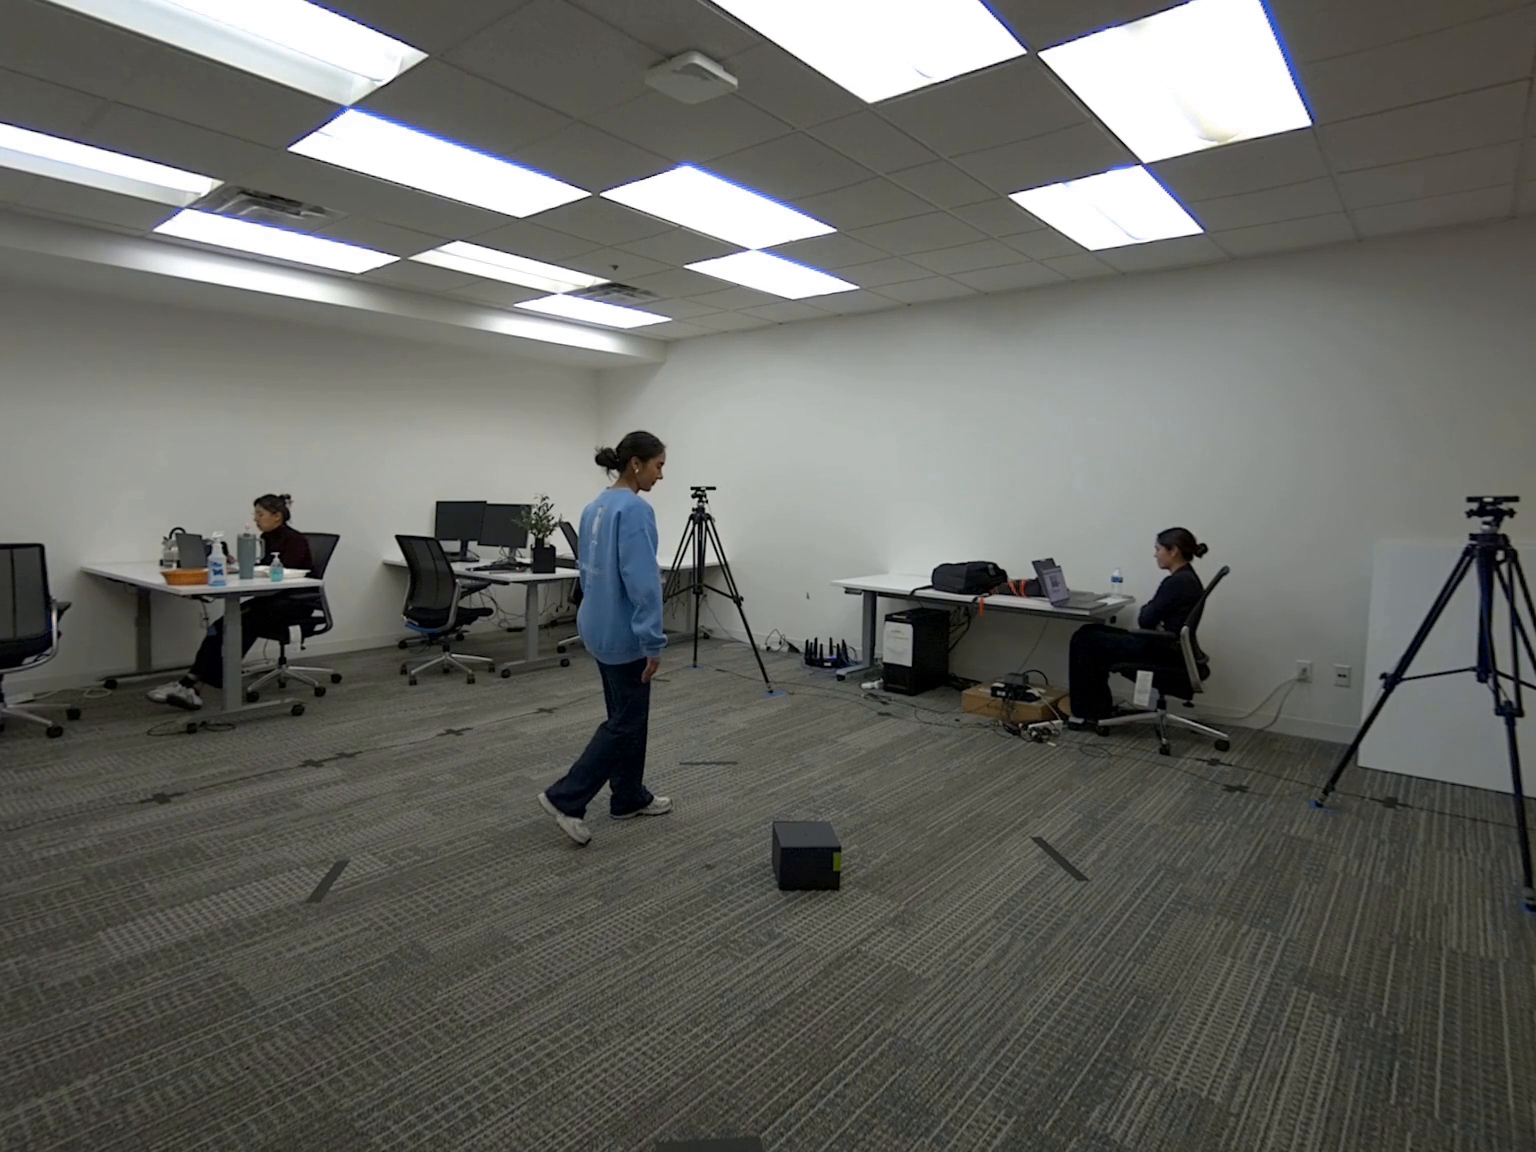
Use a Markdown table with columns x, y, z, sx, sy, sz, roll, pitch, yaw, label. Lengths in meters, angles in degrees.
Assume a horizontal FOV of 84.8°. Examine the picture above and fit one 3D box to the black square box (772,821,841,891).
| x | y | z | sx | sy | sz | roll | pitch | yaw | label |
| --- | --- | --- | --- | --- | --- | --- | --- | --- | --- |
| 0.129 | 0.990 | 3.050 | 0.216 | 0.155 | 0.230 | 2 | 5 | -6 | black square box |
